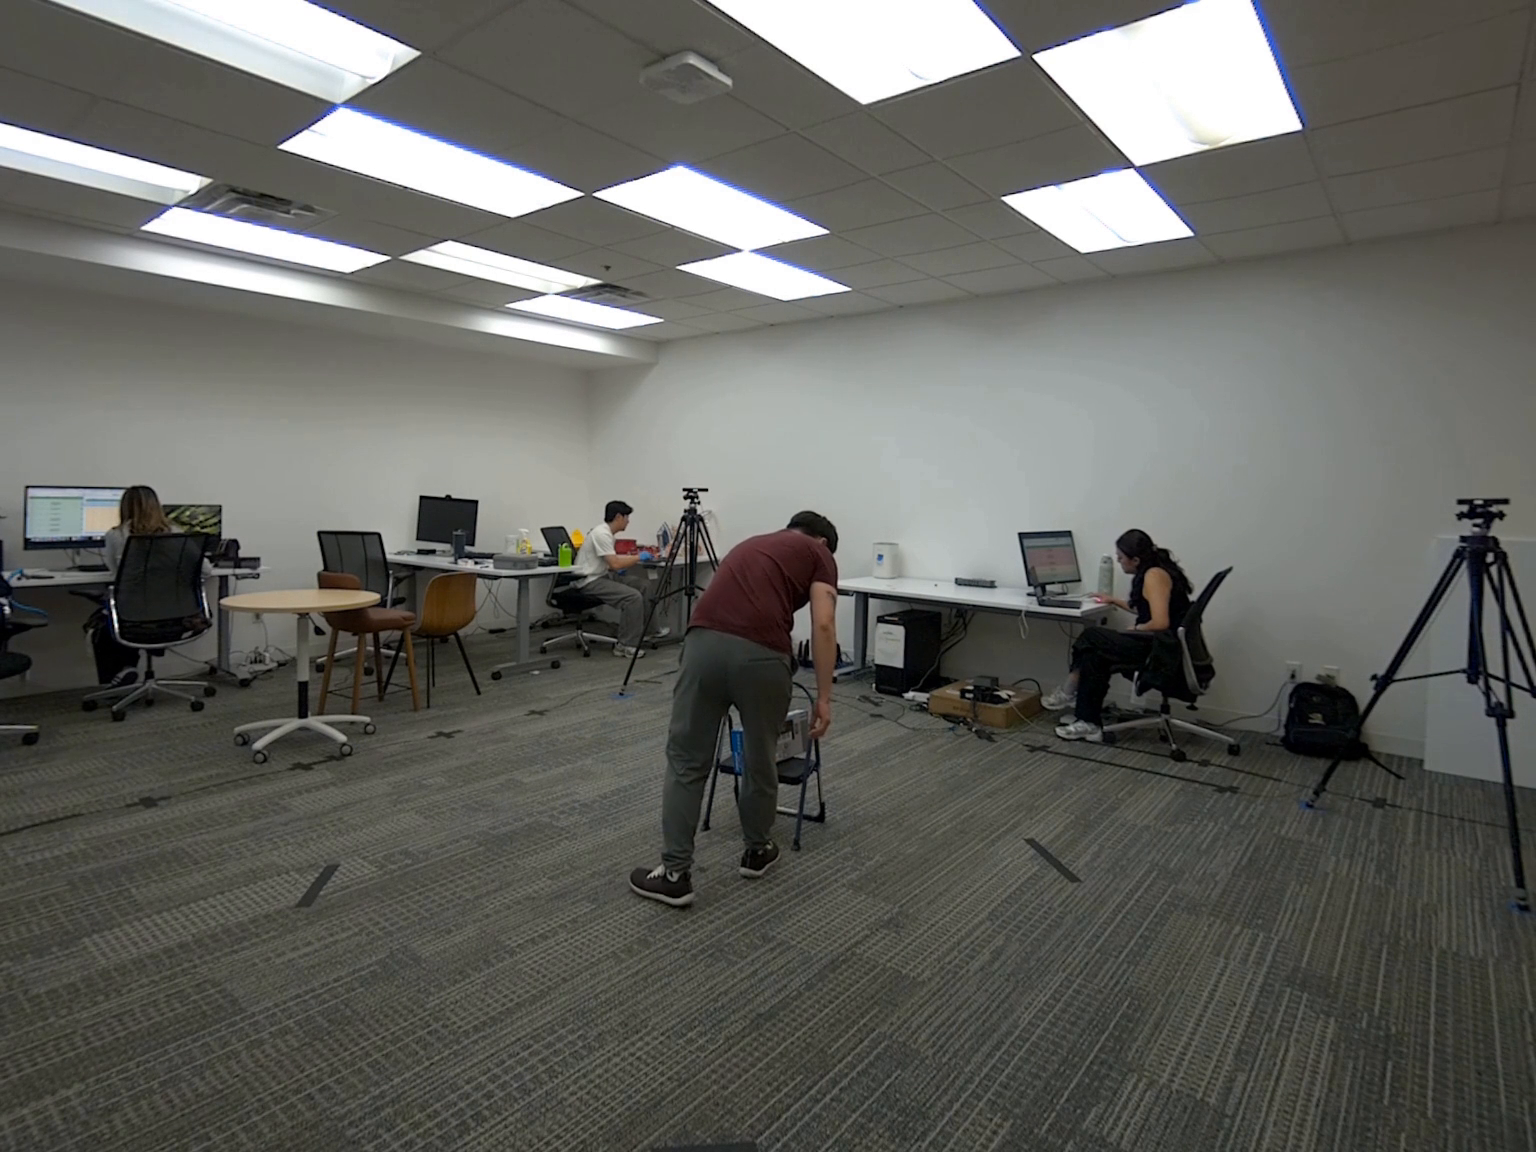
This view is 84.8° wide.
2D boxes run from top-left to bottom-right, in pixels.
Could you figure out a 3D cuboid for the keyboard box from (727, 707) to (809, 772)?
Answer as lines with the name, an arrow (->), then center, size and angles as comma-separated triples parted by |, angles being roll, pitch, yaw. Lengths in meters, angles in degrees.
keyboard box -> 0.006, 0.678, 3.533 | 0.061, 0.176, 0.424 | -7, -1, 41
